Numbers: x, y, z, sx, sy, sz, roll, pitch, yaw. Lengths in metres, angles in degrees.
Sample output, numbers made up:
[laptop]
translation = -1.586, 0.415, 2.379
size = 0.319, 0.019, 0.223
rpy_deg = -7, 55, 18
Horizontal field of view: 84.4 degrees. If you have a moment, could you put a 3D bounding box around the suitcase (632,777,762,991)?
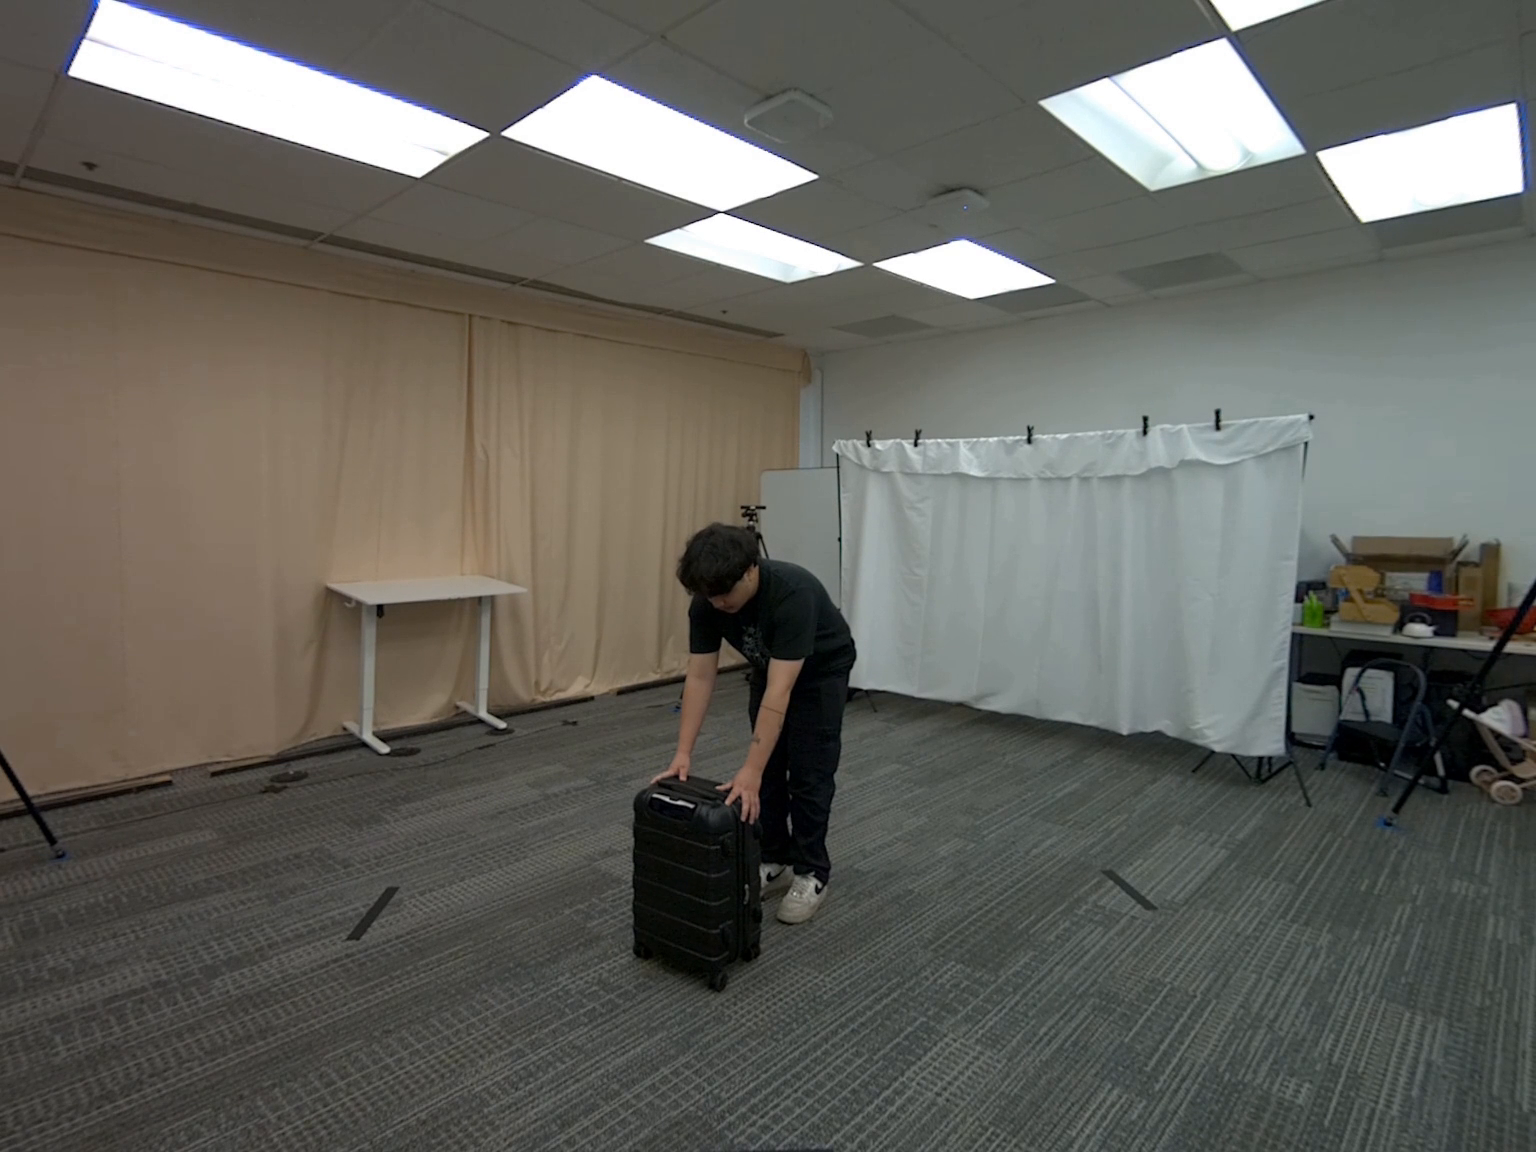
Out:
[suitcase]
translation = -0.222, 0.908, 2.566
size = 0.387, 0.548, 0.241
rpy_deg = 2, 5, 35
